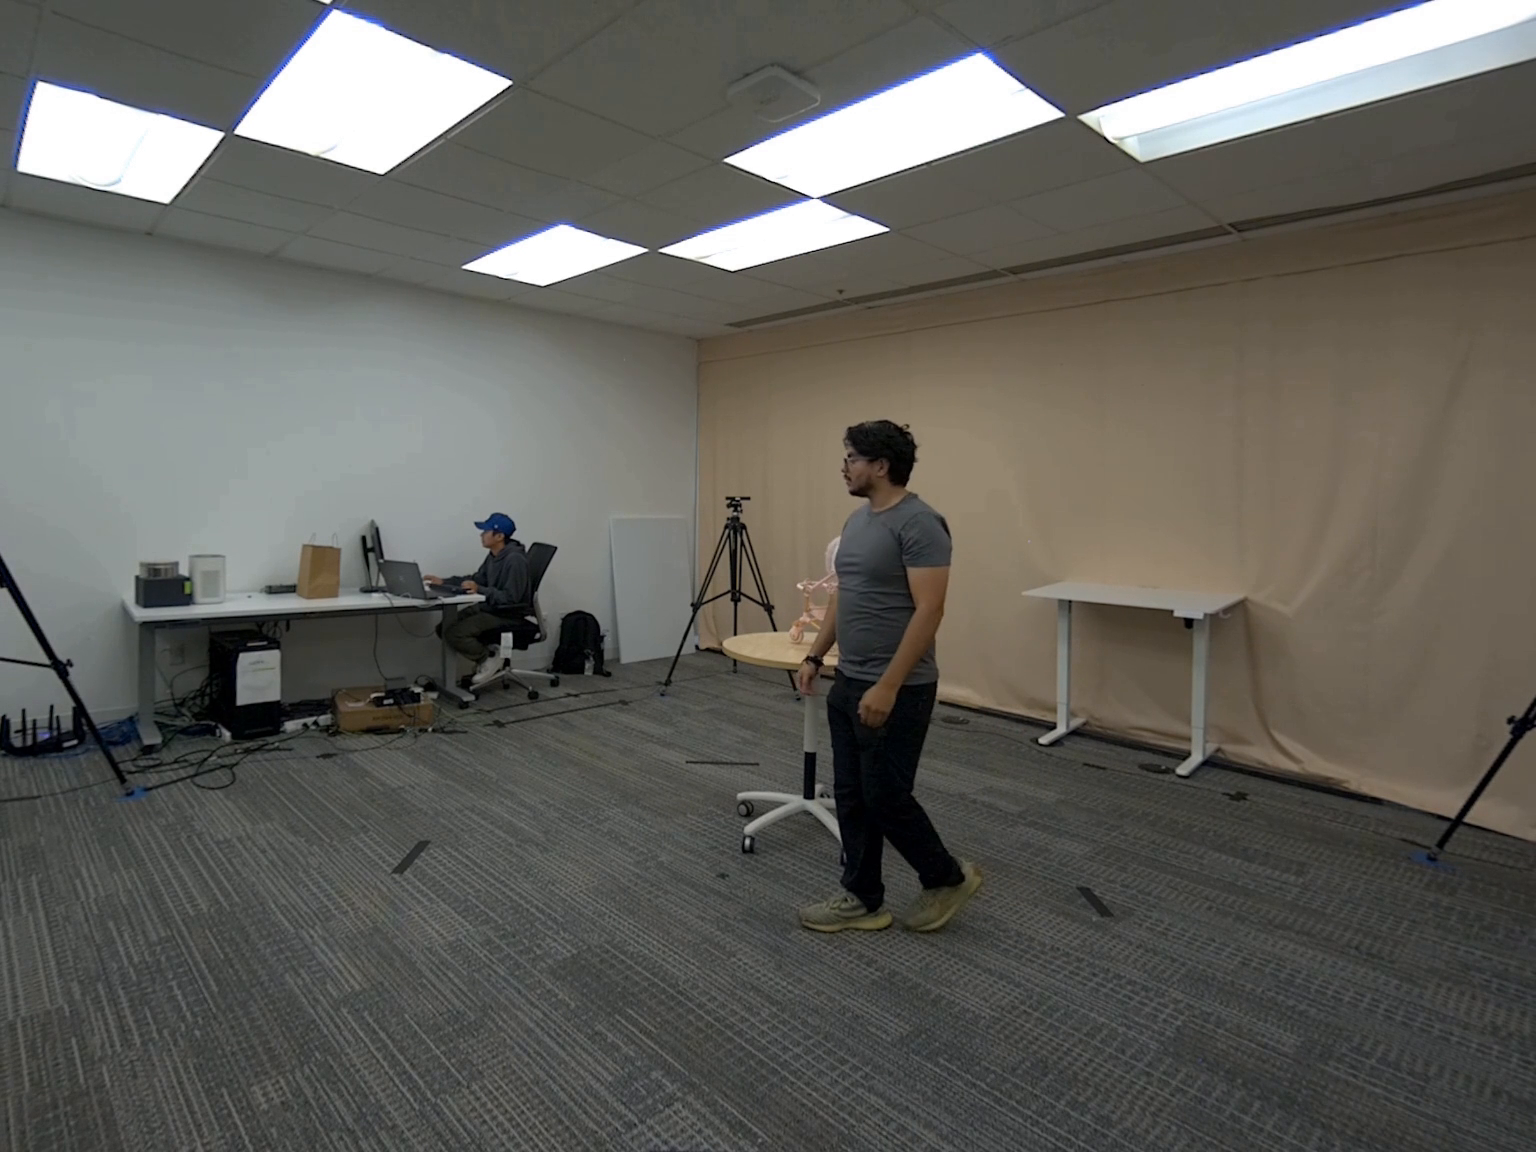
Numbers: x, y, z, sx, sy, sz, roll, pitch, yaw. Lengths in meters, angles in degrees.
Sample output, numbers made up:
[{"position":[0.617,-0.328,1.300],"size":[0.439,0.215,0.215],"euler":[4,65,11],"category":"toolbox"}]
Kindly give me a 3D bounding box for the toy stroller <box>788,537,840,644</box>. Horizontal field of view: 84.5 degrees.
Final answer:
[{"position":[0.278,0.080,3.454],"size":[0.352,0.531,0.275],"euler":[24,17,38],"category":"toy stroller"}]
